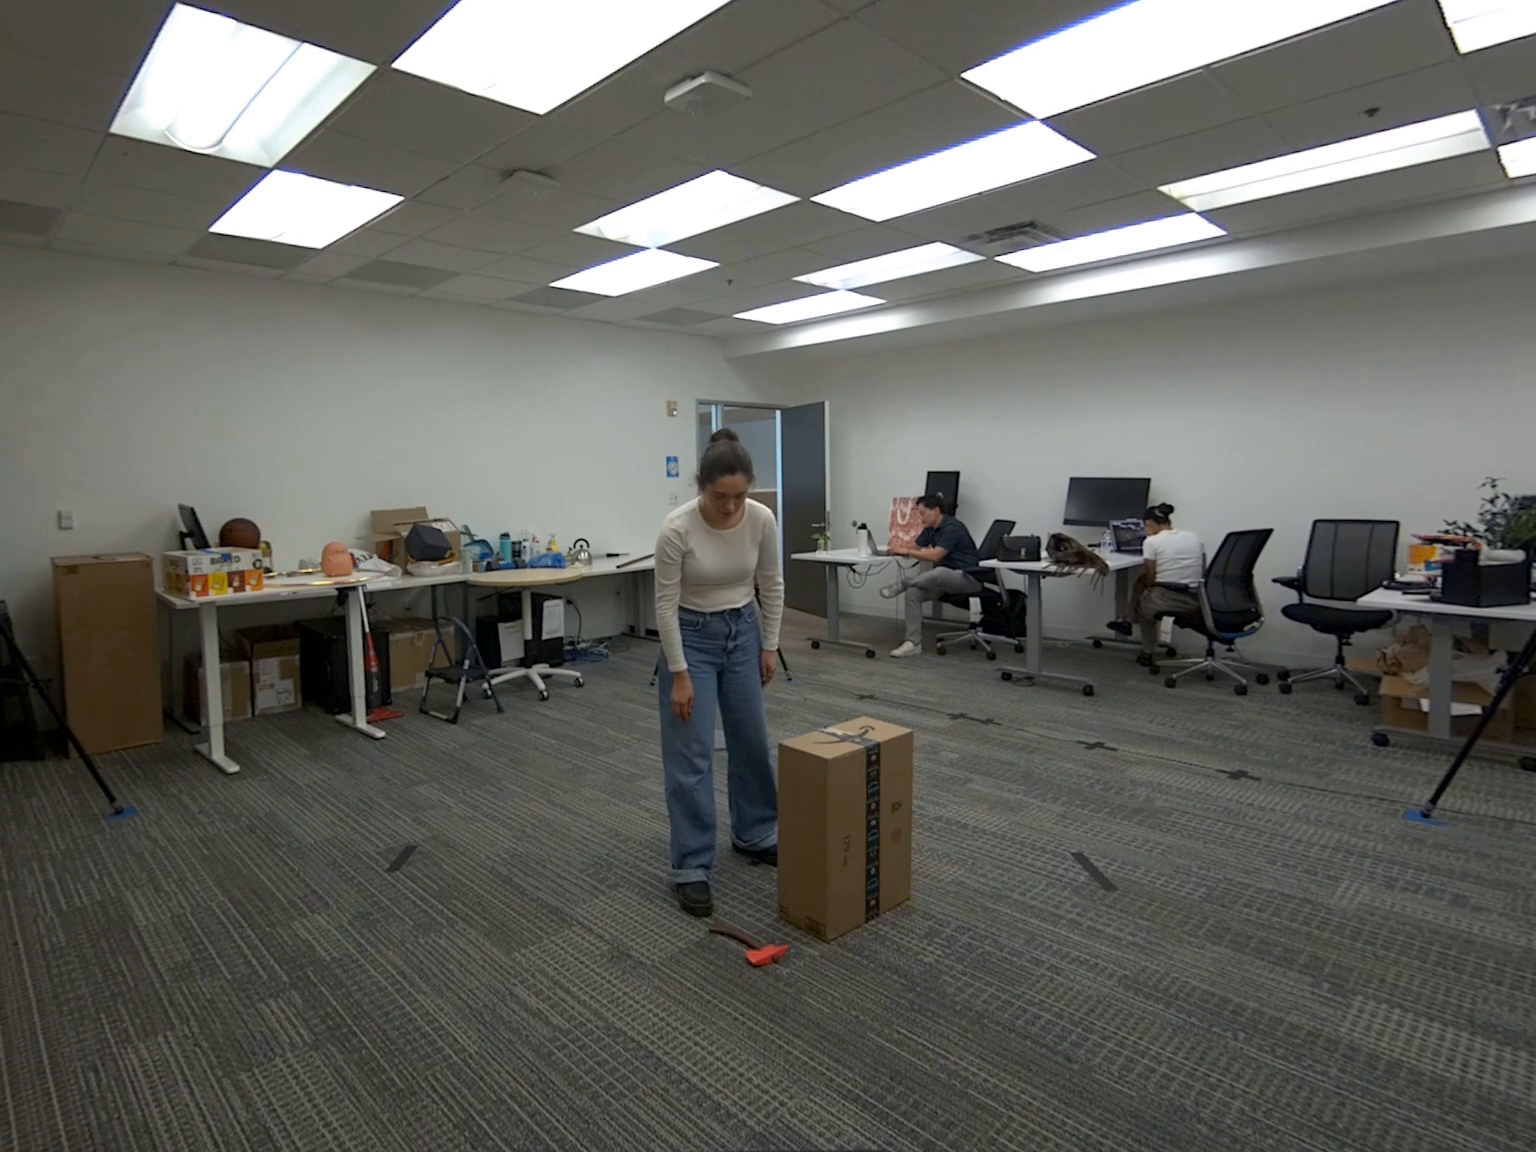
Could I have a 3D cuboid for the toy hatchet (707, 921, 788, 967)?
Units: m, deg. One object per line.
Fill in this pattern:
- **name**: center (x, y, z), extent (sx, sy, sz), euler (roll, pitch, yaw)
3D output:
- **toy hatchet**: center (-0.080, 1.103, 2.542), extent (0.277, 0.029, 0.128), euler (2, 9, 33)
